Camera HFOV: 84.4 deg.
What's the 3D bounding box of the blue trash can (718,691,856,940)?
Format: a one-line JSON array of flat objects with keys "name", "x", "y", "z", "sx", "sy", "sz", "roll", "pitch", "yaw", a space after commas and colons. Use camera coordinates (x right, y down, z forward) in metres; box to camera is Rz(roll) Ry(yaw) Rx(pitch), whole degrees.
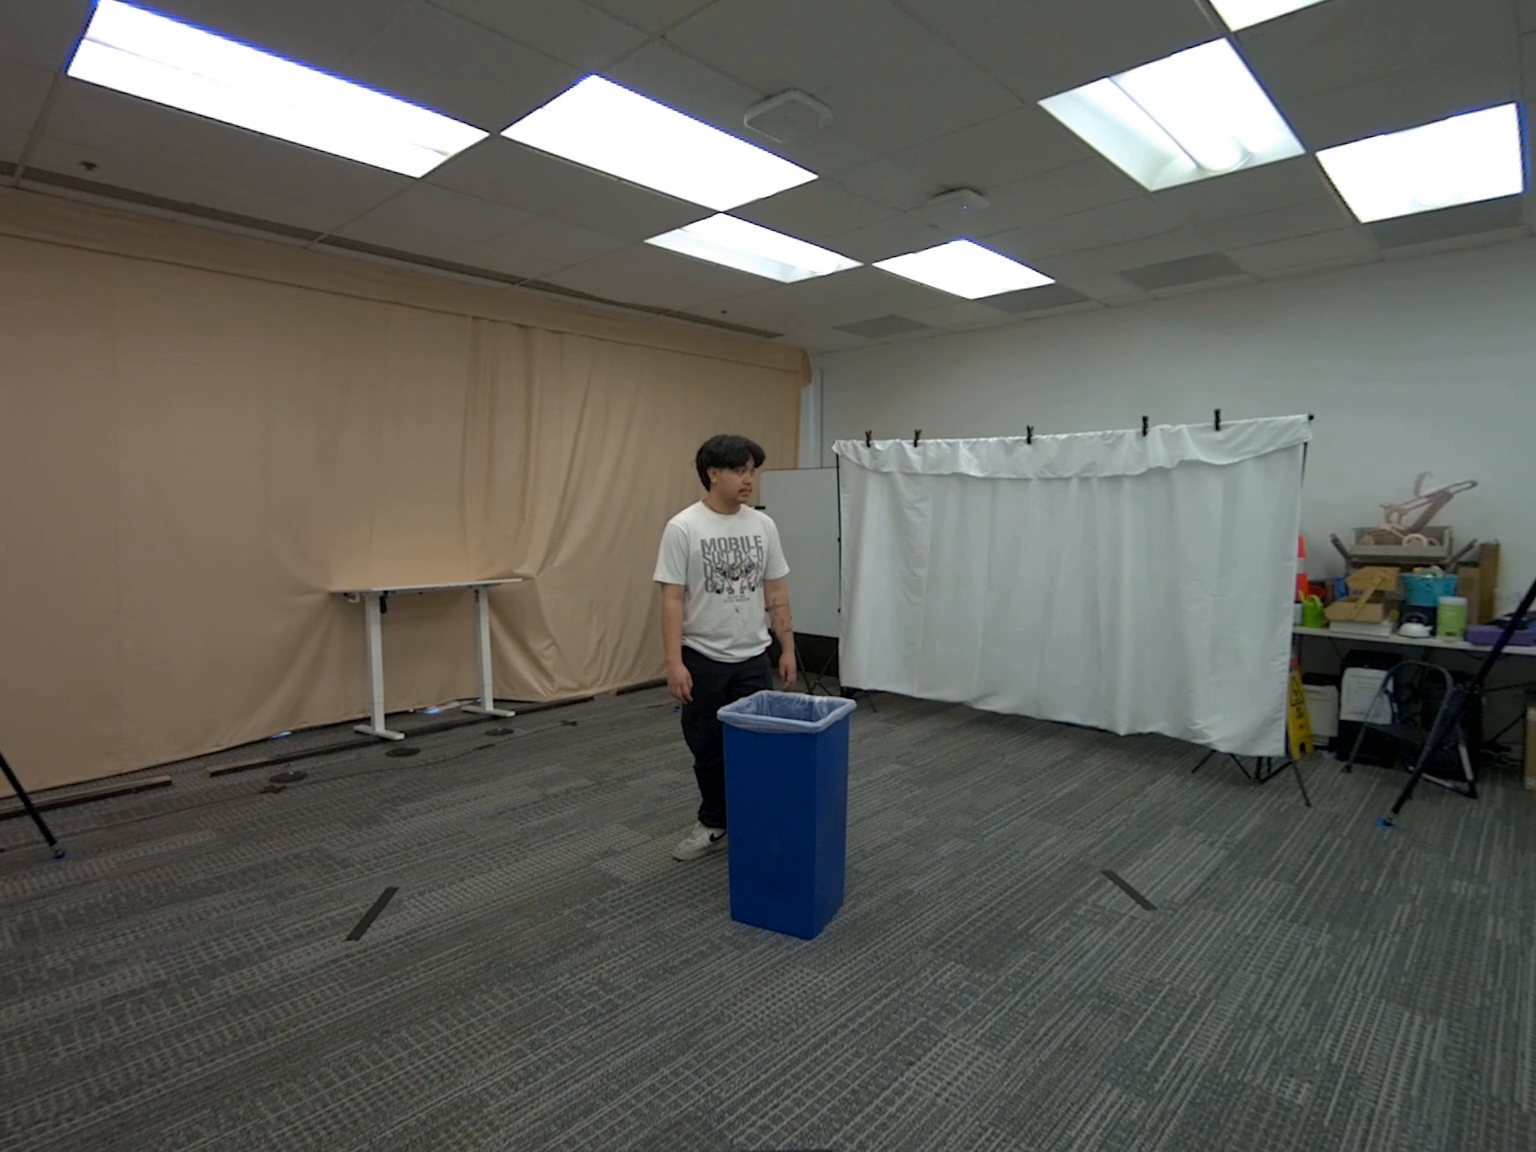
[{"name": "blue trash can", "x": 0.072, "y": 0.796, "z": 2.864, "sx": 0.388, "sy": 0.712, "sz": 0.365, "roll": 1, "pitch": 4, "yaw": 27}]
